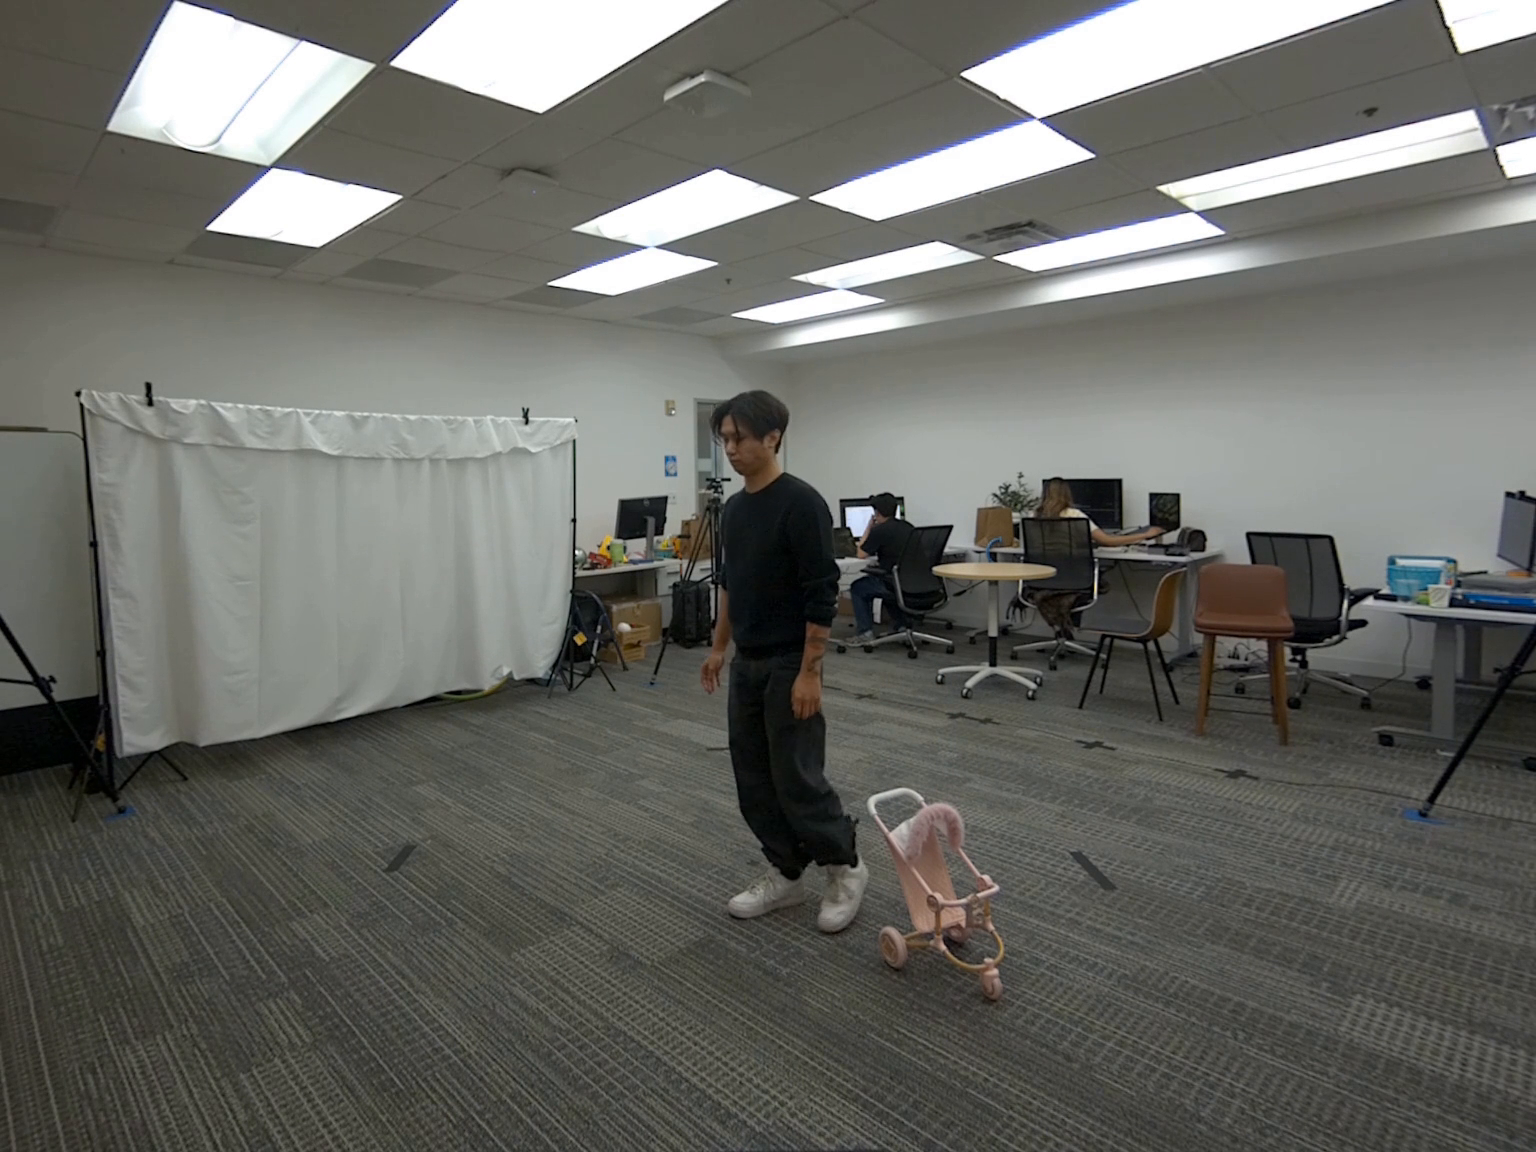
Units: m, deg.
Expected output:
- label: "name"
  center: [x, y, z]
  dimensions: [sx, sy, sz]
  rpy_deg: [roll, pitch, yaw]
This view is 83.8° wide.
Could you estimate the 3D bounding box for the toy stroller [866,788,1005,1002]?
- label: "toy stroller"
  center: [0.495, 0.886, 2.430]
  dimensions: [0.275, 0.541, 0.345]
  rpy_deg: [-3, -12, -27]
